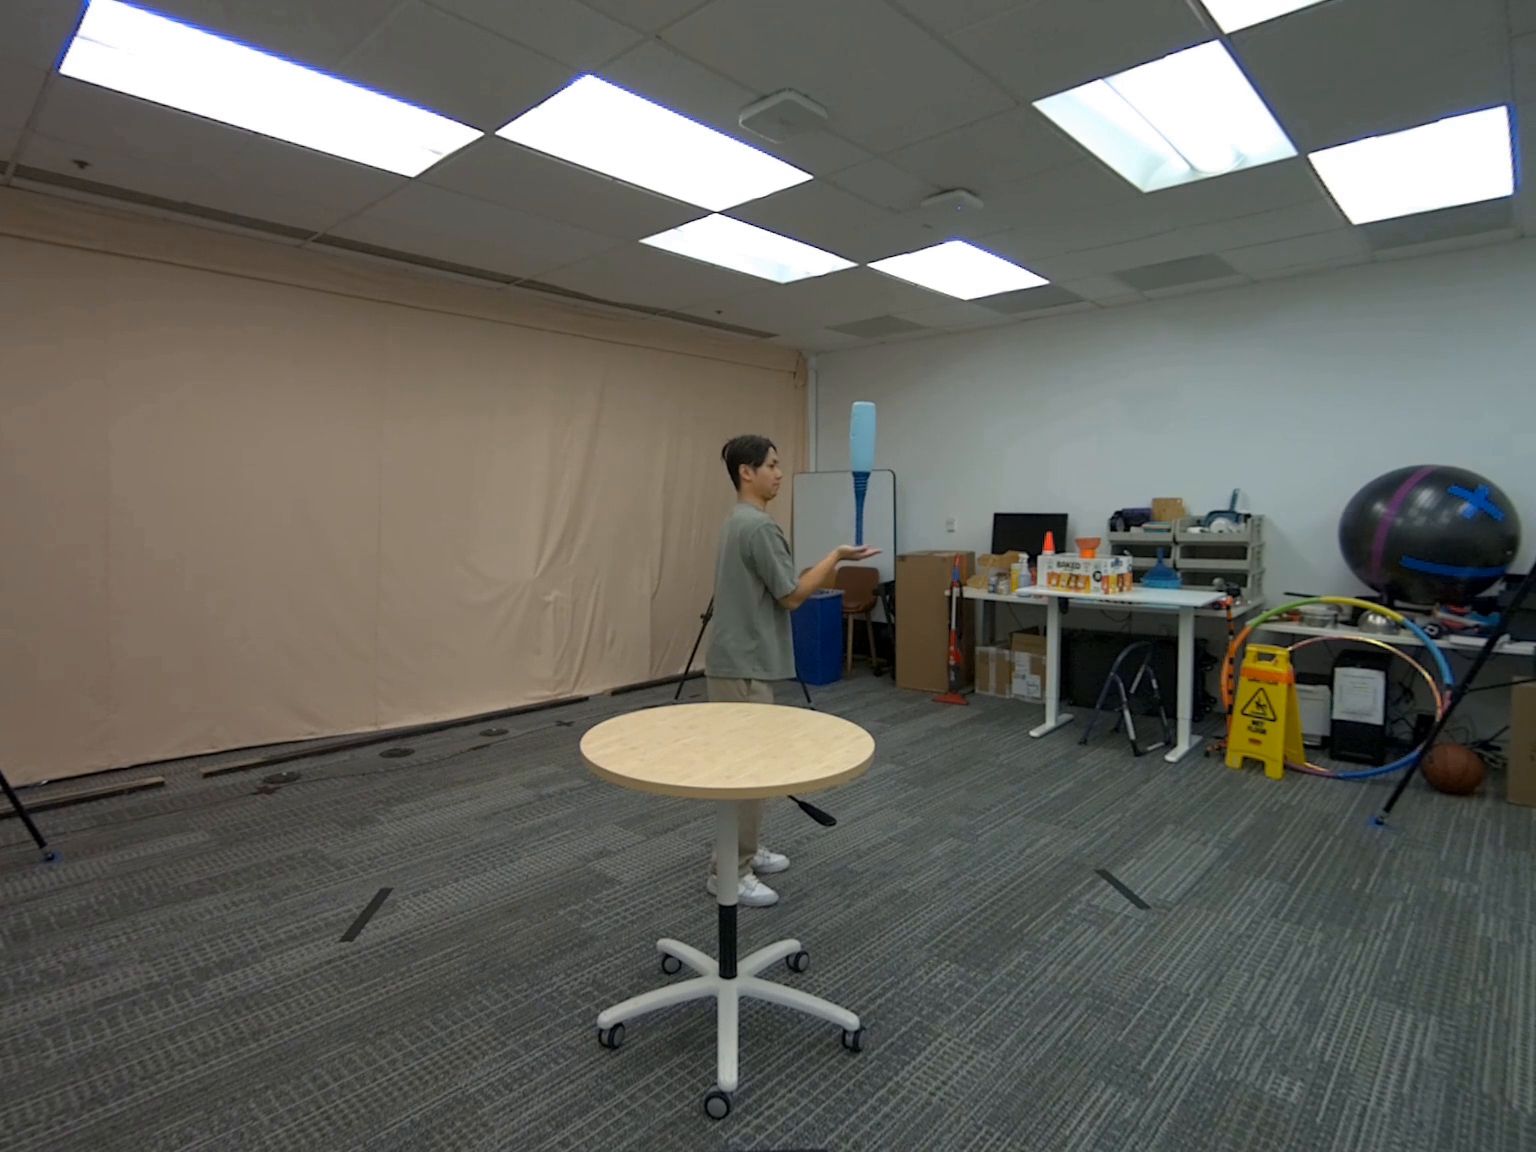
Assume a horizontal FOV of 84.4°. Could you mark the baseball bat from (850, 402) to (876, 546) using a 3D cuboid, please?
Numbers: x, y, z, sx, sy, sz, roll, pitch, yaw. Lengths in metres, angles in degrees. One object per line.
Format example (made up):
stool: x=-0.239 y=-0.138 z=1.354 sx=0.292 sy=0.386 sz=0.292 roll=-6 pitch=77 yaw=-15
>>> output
baseball bat: x=0.345 y=-0.361 z=3.051 sx=0.089 sy=0.542 sz=0.089 roll=1 pitch=2 yaw=-2
